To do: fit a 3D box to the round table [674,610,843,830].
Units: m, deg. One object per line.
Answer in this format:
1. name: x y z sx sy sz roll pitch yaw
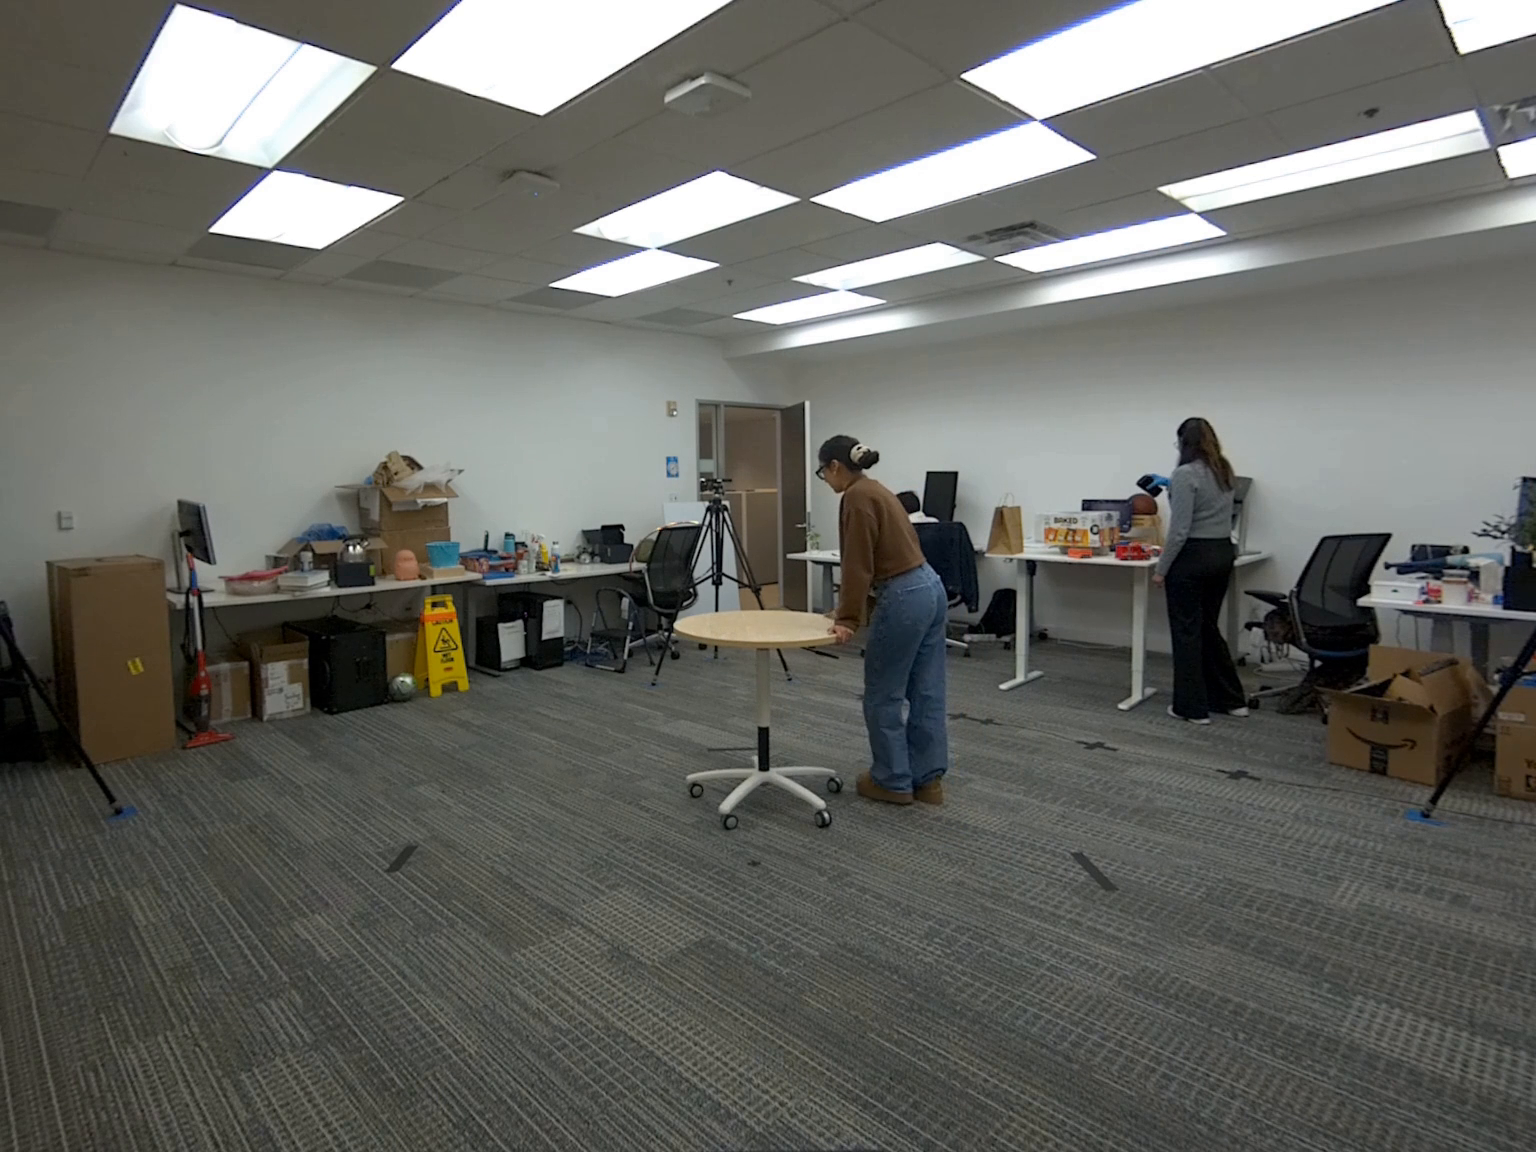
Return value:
1. round table: -0.011 0.595 3.677 0.763 0.791 0.768 0 5 -2
